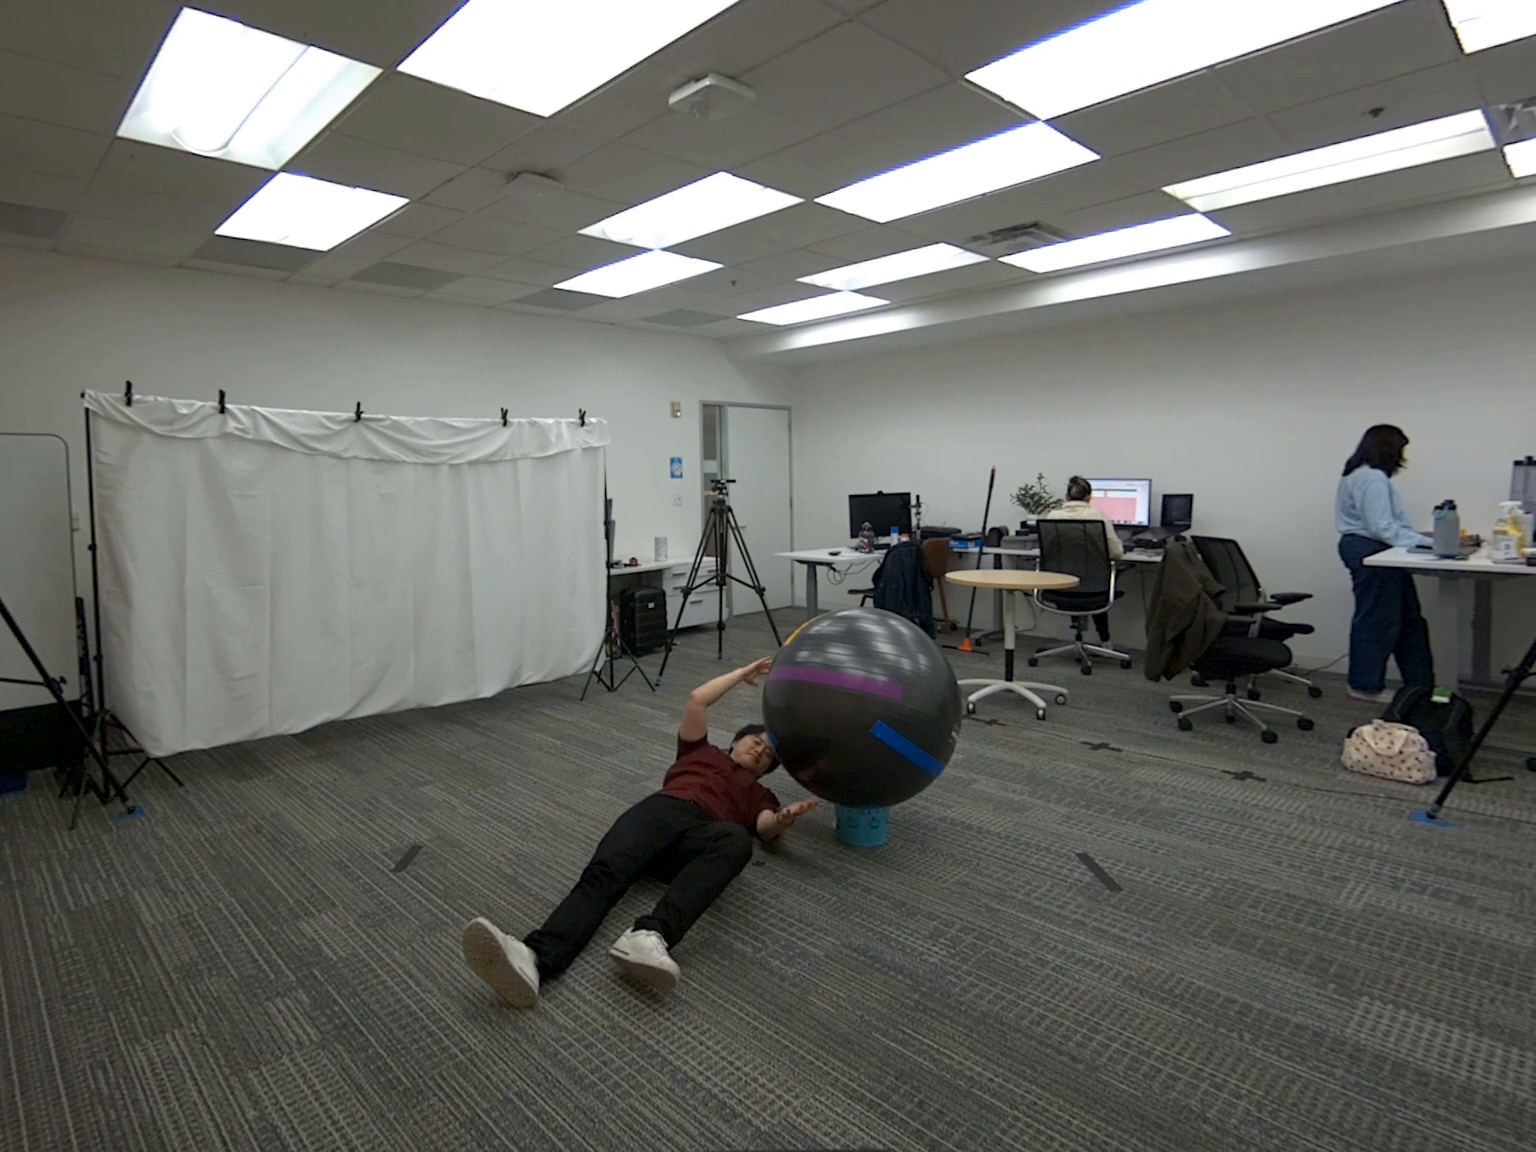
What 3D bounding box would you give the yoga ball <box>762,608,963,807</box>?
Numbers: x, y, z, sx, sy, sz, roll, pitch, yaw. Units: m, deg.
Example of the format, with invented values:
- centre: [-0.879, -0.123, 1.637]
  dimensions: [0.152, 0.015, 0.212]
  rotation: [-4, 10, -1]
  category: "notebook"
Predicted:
- centre: [0.368, 0.508, 3.314]
  dimensions: [0.757, 0.755, 0.762]
  rotation: [-1, 5, -2]
  category: "yoga ball"
